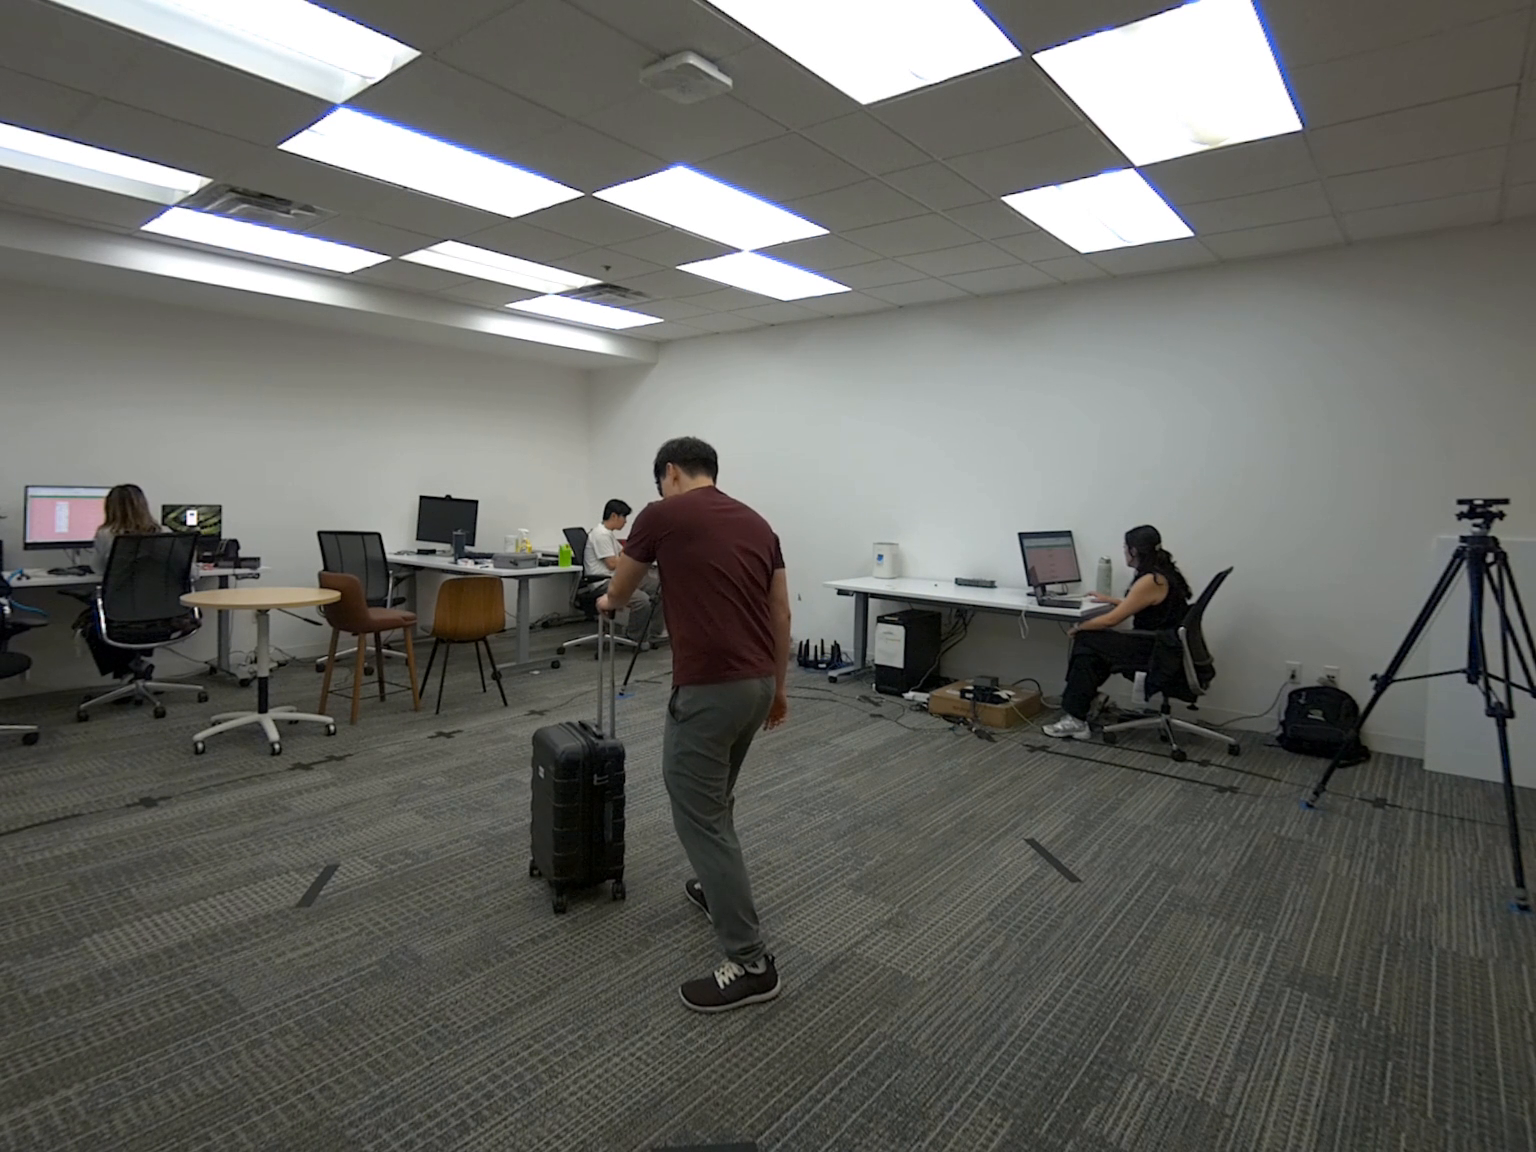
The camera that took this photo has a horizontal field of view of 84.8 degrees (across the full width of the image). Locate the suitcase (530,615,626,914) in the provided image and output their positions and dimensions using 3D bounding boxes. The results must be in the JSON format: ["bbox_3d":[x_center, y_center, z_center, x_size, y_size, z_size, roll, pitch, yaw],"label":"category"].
[{"bbox_3d":[-0.680,0.599,2.955,0.251,0.977,0.394,-2,2,-28],"label":"suitcase"}]
